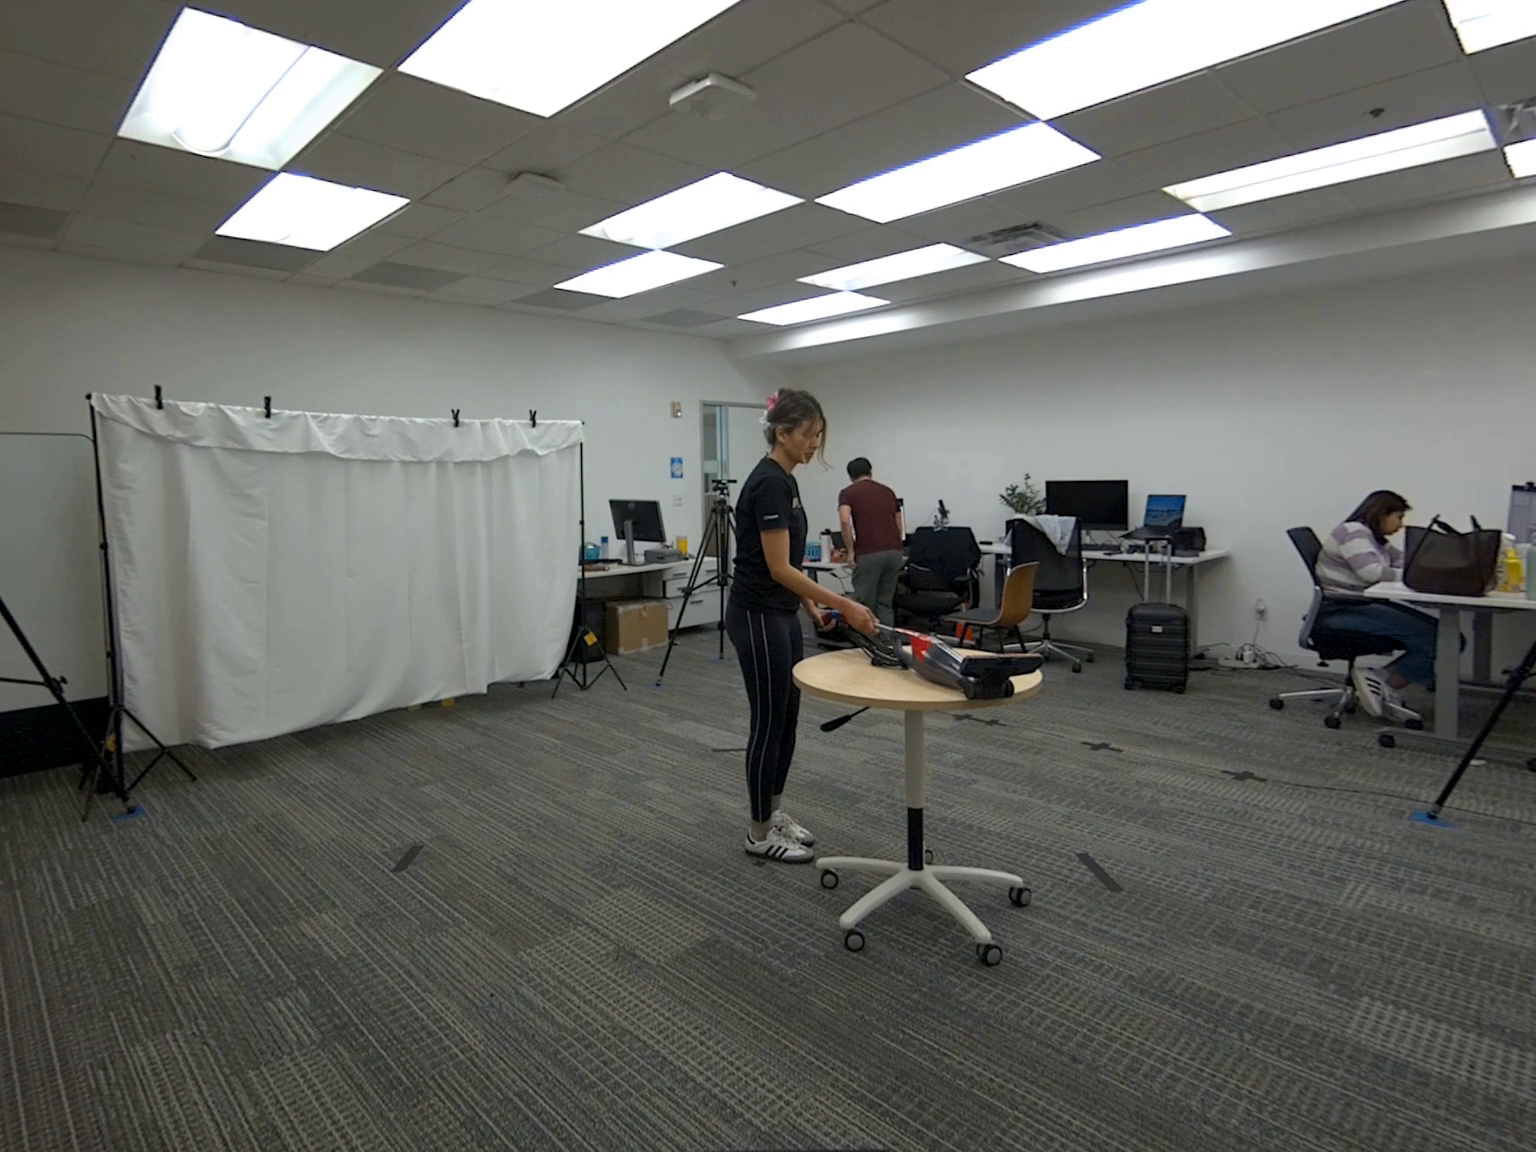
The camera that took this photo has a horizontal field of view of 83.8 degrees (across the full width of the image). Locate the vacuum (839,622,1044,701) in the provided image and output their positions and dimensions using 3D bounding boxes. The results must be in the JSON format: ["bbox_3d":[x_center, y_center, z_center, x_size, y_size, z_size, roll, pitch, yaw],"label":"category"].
[{"bbox_3d":[0.418,0.243,2.776,0.248,0.143,1.073,-1,5,-23],"label":"vacuum"}]
